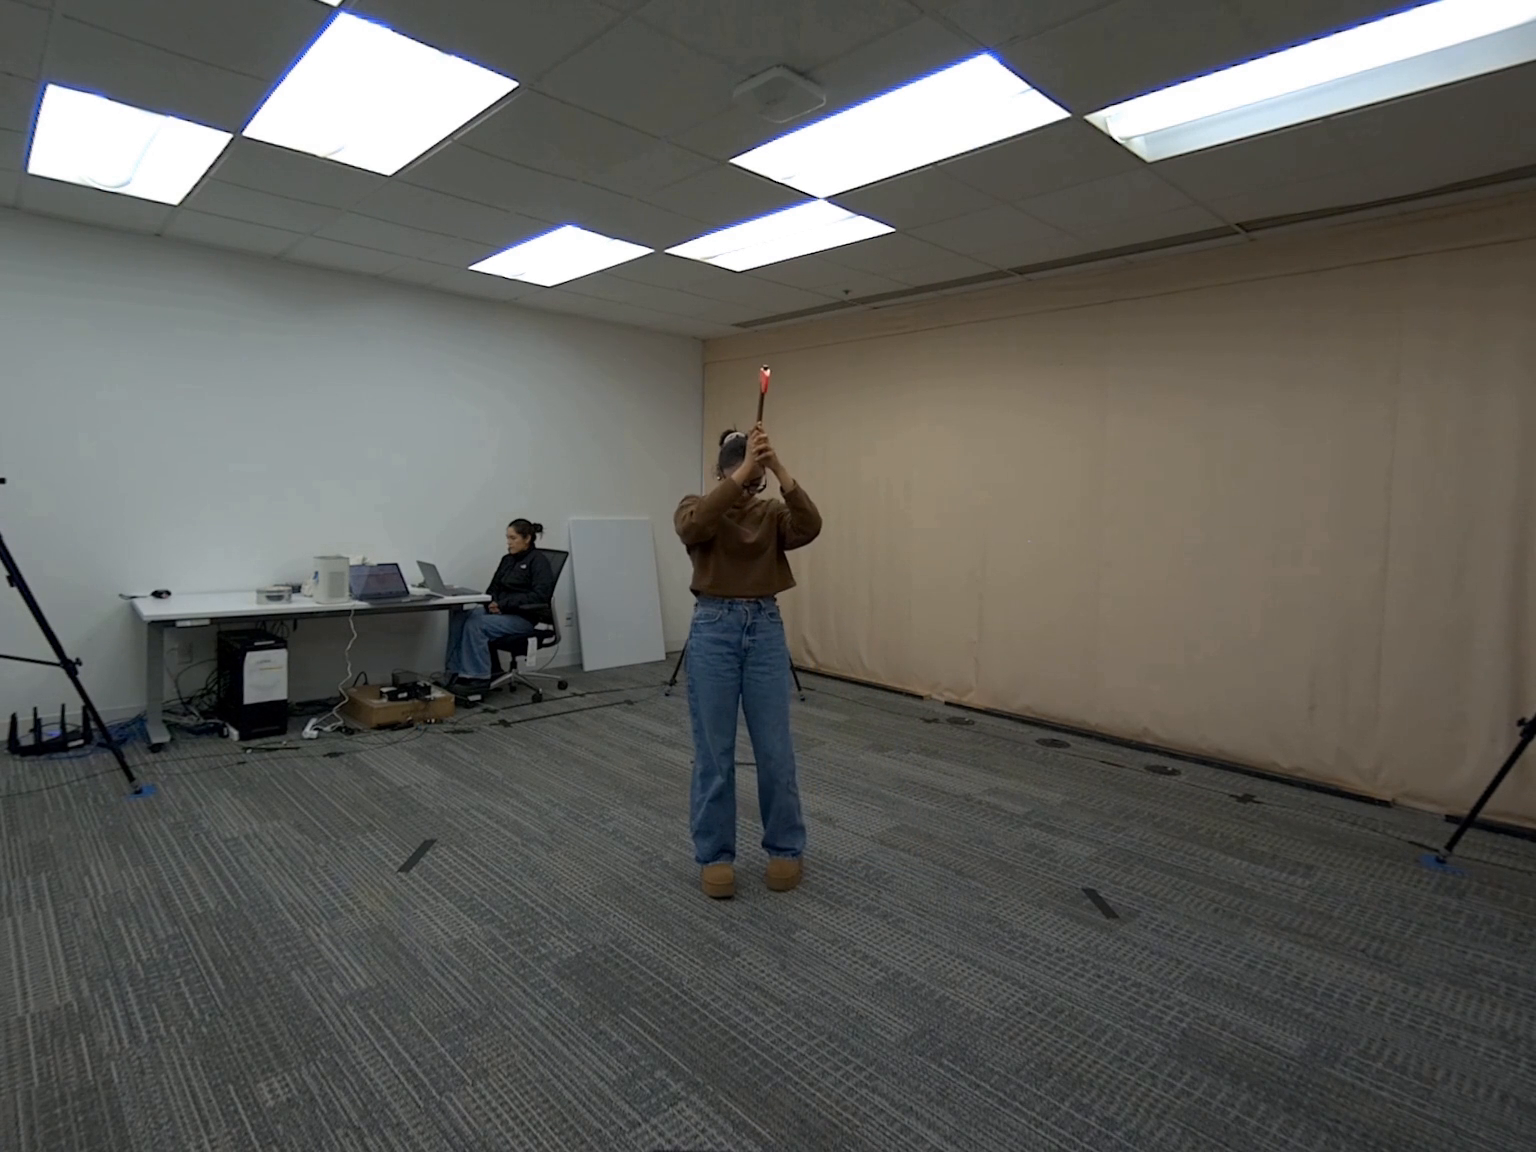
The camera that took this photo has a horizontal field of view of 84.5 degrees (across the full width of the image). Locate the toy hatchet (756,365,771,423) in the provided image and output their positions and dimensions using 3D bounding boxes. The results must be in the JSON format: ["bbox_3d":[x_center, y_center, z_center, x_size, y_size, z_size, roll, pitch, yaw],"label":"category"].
[{"bbox_3d":[-0.022,-0.557,2.779,0.029,0.269,0.132,4,5,-7],"label":"toy hatchet"}]
